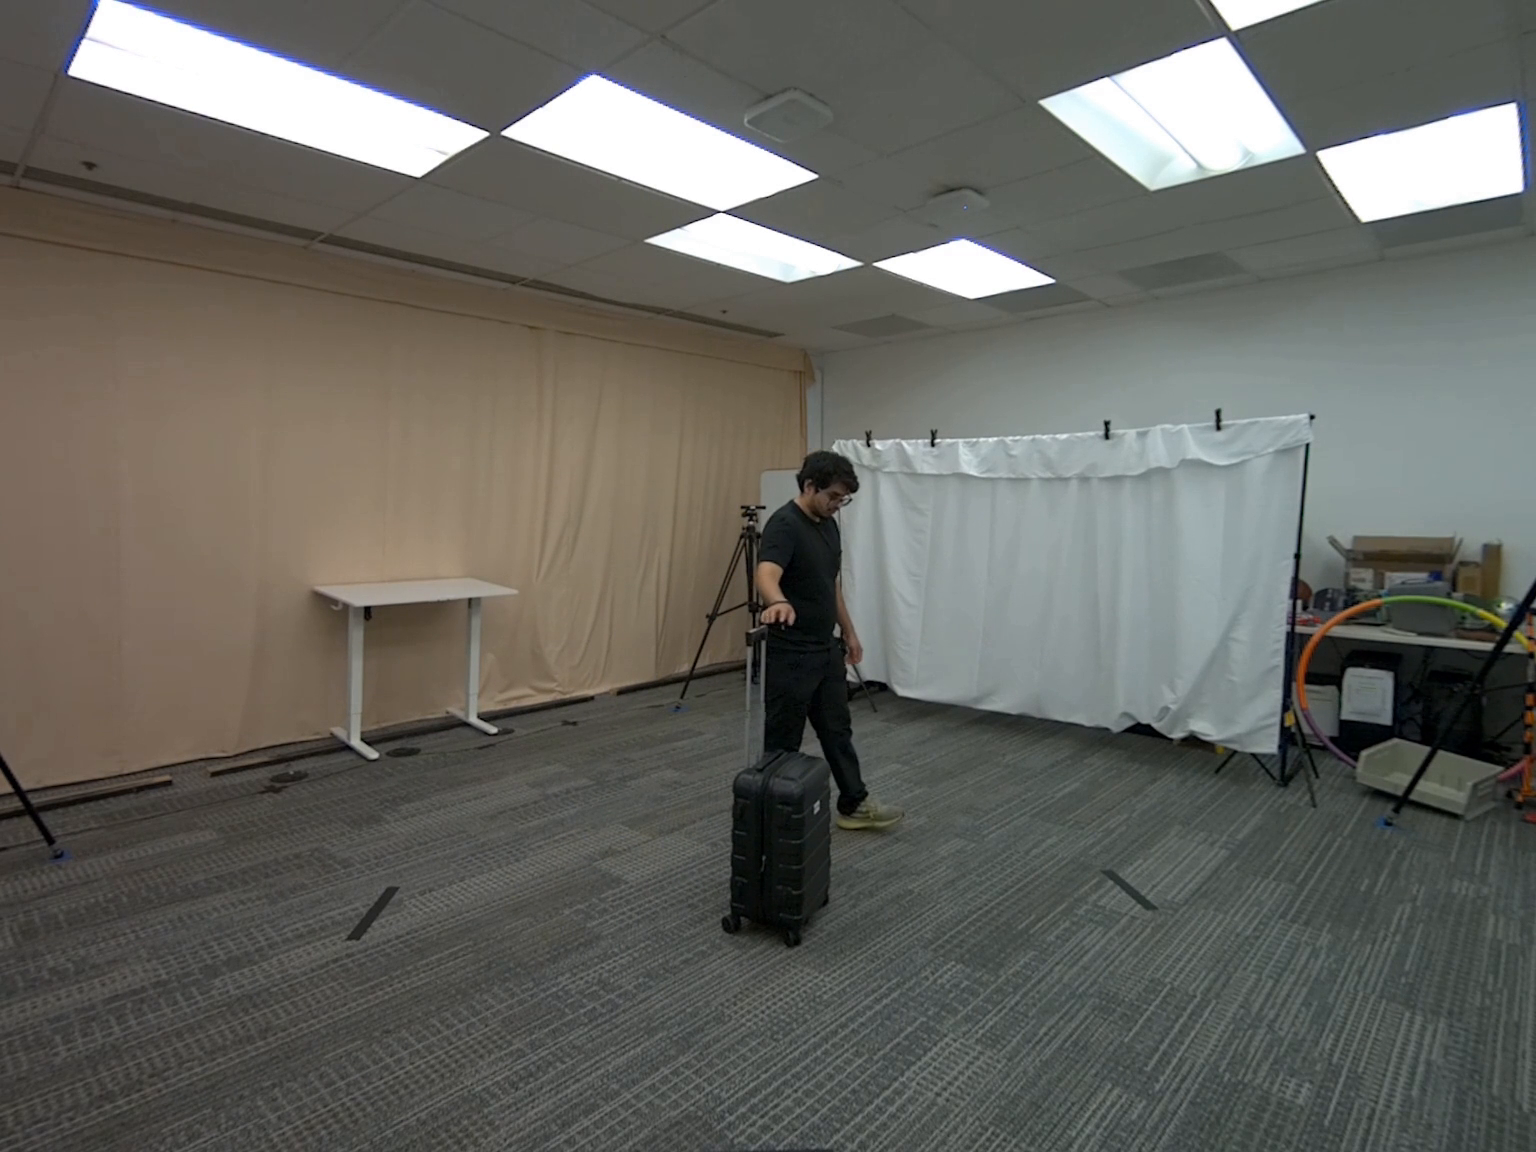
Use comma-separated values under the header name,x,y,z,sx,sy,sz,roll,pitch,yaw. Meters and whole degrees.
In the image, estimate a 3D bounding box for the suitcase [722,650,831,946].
name,x,y,z,sx,sy,sz,roll,pitch,yaw
suitcase,0.063,0.683,2.801,0.263,0.976,0.376,5,5,20
